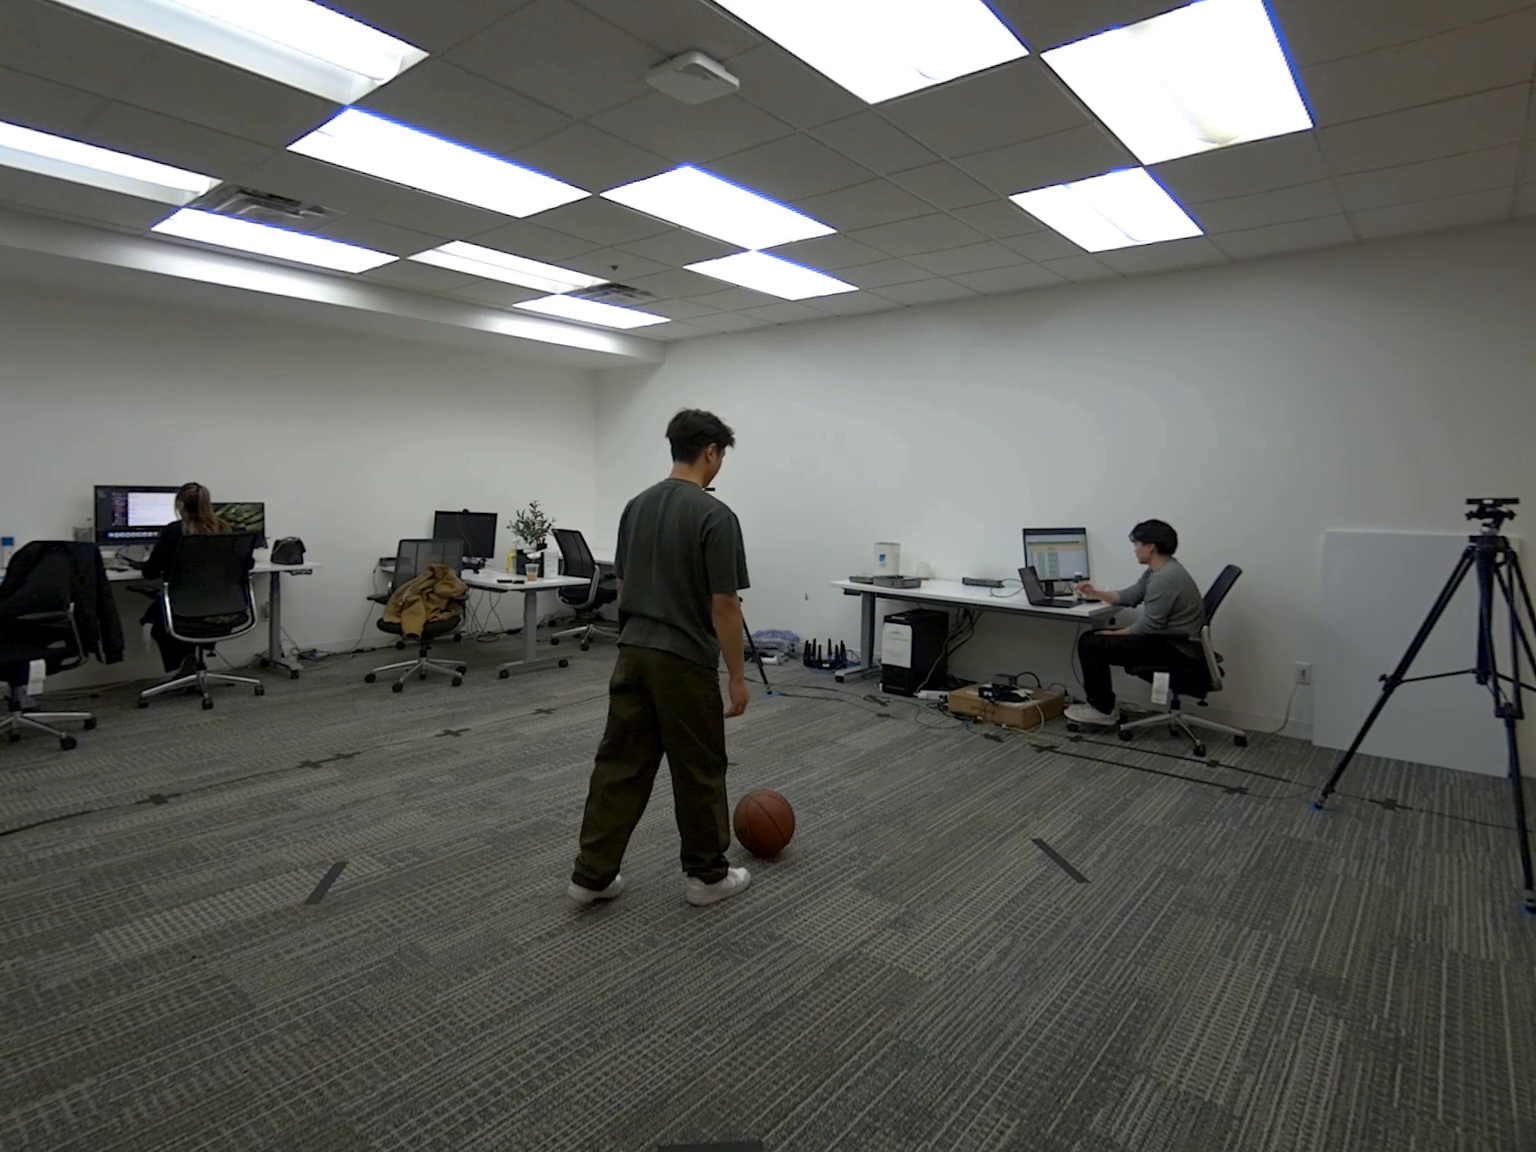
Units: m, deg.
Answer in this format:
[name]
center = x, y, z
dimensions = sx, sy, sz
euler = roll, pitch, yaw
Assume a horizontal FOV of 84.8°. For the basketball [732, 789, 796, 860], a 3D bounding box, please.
[basketball]
center = -0.024, 0.931, 3.249
dimensions = 0.235, 0.235, 0.237
euler = 1, 4, -2
